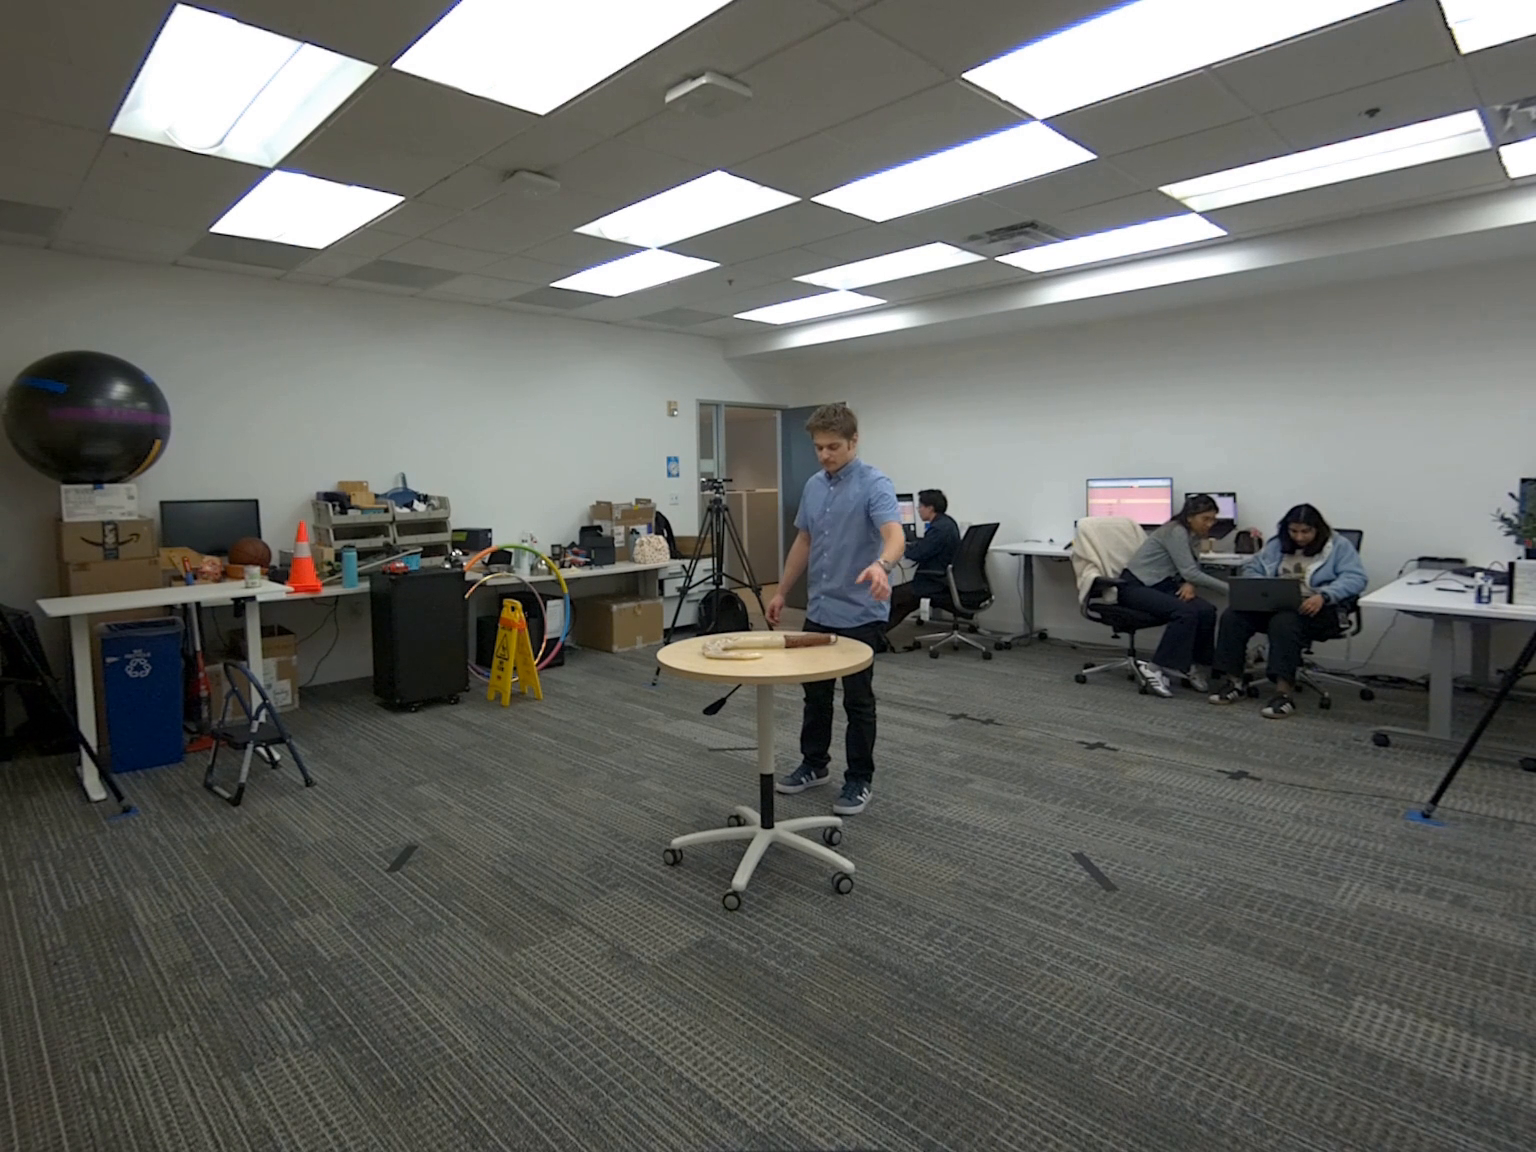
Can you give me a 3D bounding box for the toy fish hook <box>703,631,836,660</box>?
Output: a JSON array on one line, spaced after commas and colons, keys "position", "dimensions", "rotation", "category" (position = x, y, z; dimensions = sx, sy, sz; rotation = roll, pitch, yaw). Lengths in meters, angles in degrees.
[{"position": [0.020, 0.254, 3.029], "dimensions": [0.502, 0.048, 0.229], "rotation": [-3, 14, -9], "category": "toy fish hook"}]
